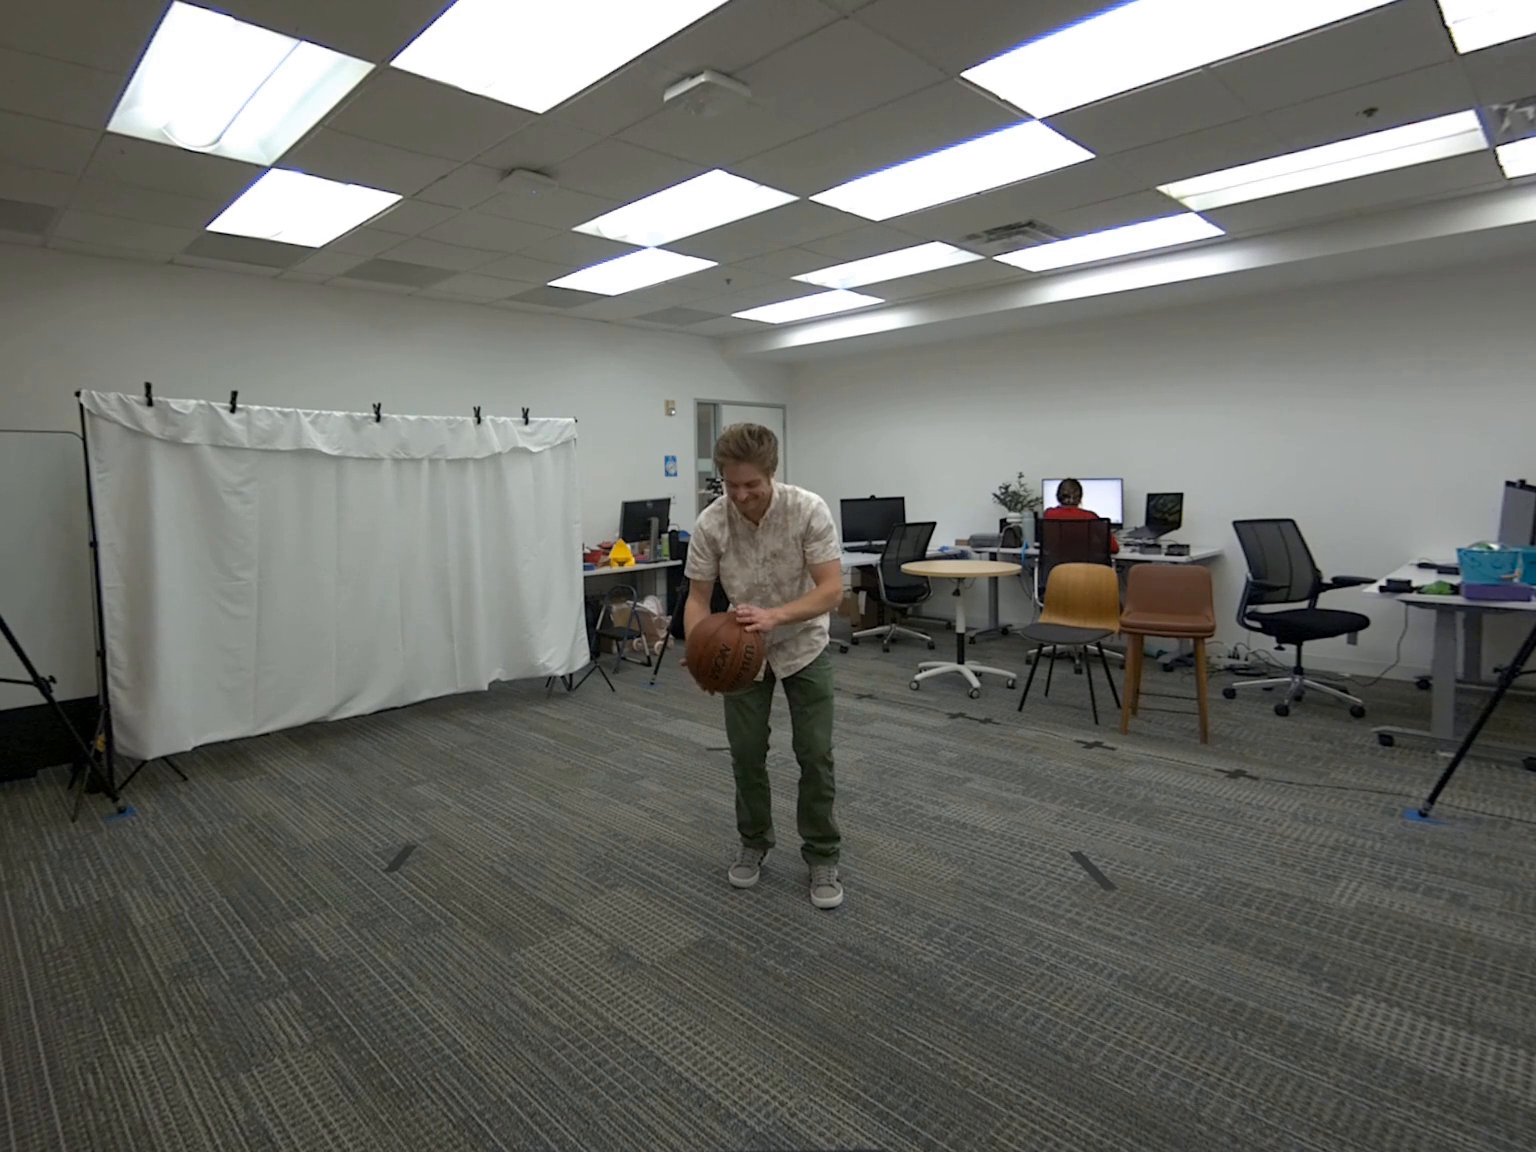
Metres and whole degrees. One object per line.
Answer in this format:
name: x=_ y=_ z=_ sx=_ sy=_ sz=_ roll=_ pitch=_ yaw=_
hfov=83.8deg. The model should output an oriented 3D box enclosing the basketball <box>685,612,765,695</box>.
basketball: x=-0.135 y=0.236 z=2.570 sx=0.236 sy=0.235 sz=0.237 roll=-1 pitch=5 yaw=-2
